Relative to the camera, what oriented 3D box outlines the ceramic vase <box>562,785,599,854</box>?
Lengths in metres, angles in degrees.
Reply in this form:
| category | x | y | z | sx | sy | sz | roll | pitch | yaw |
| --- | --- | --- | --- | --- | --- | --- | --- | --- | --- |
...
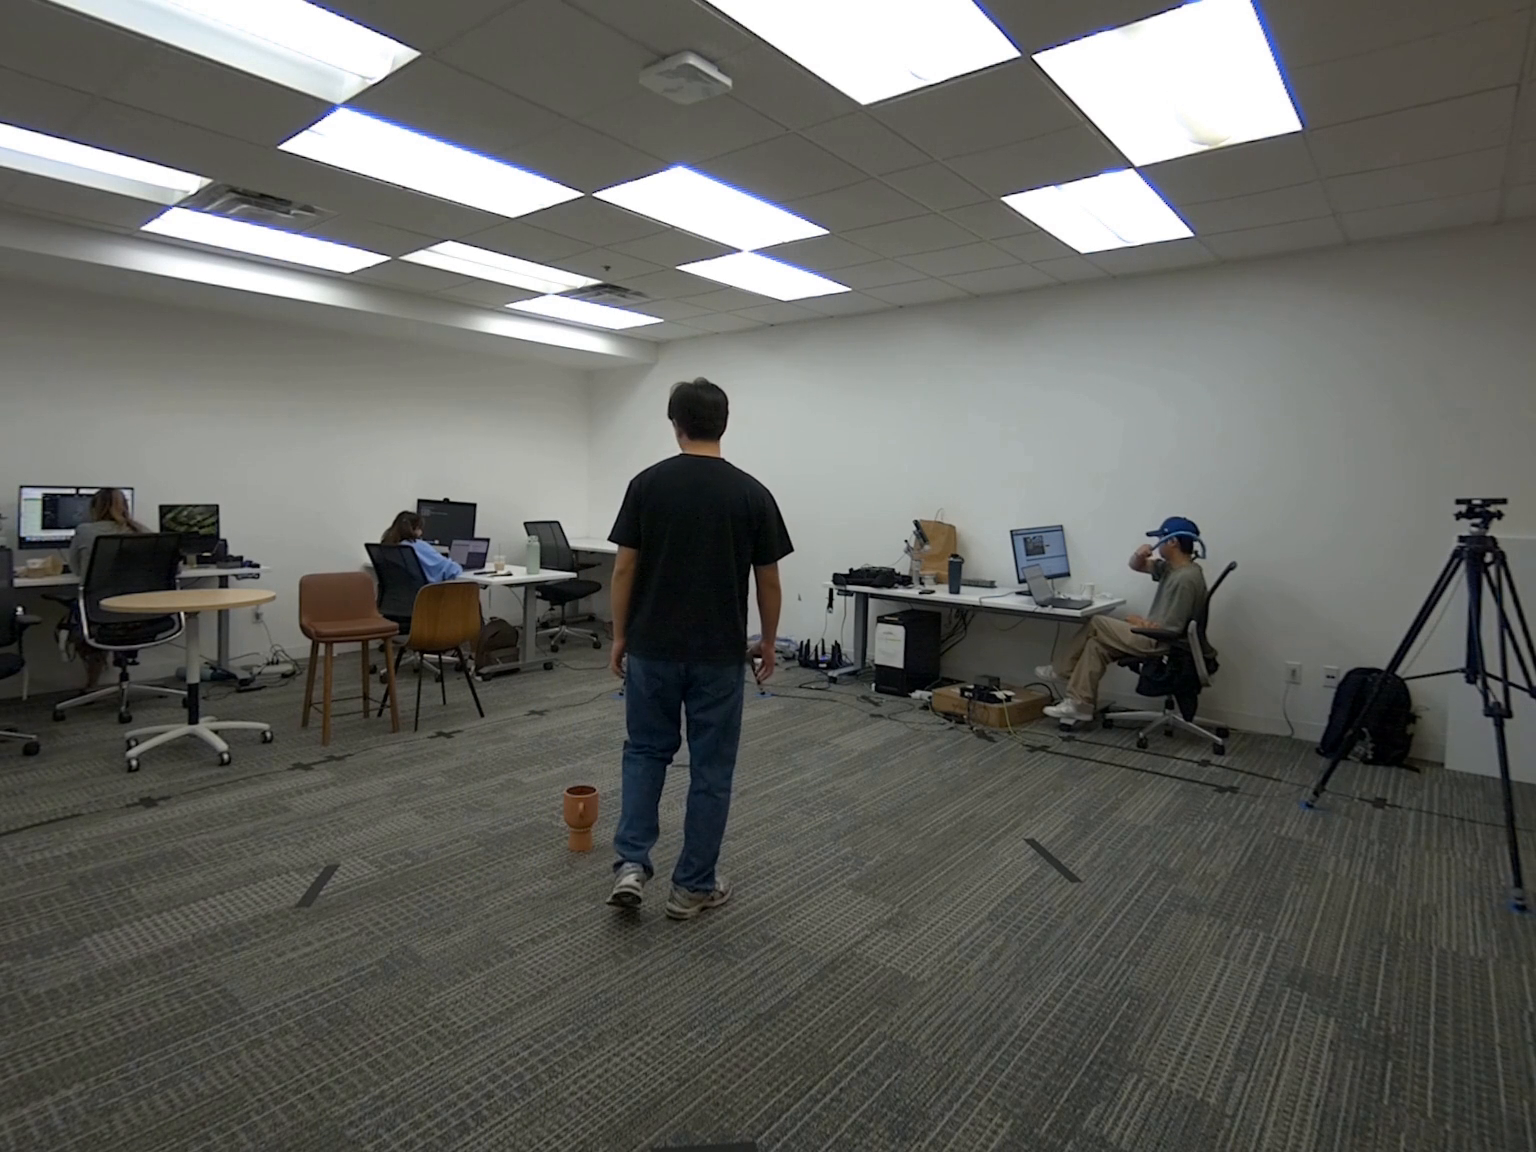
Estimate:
| category | x | y | z | sx | sy | sz | roll | pitch | yaw |
| --- | --- | --- | --- | --- | --- | --- | --- | --- | --- |
| ceramic vase | -0.732 | 0.929 | 3.279 | 0.138 | 0.219 | 0.155 | 4 | 4 | 27 |
